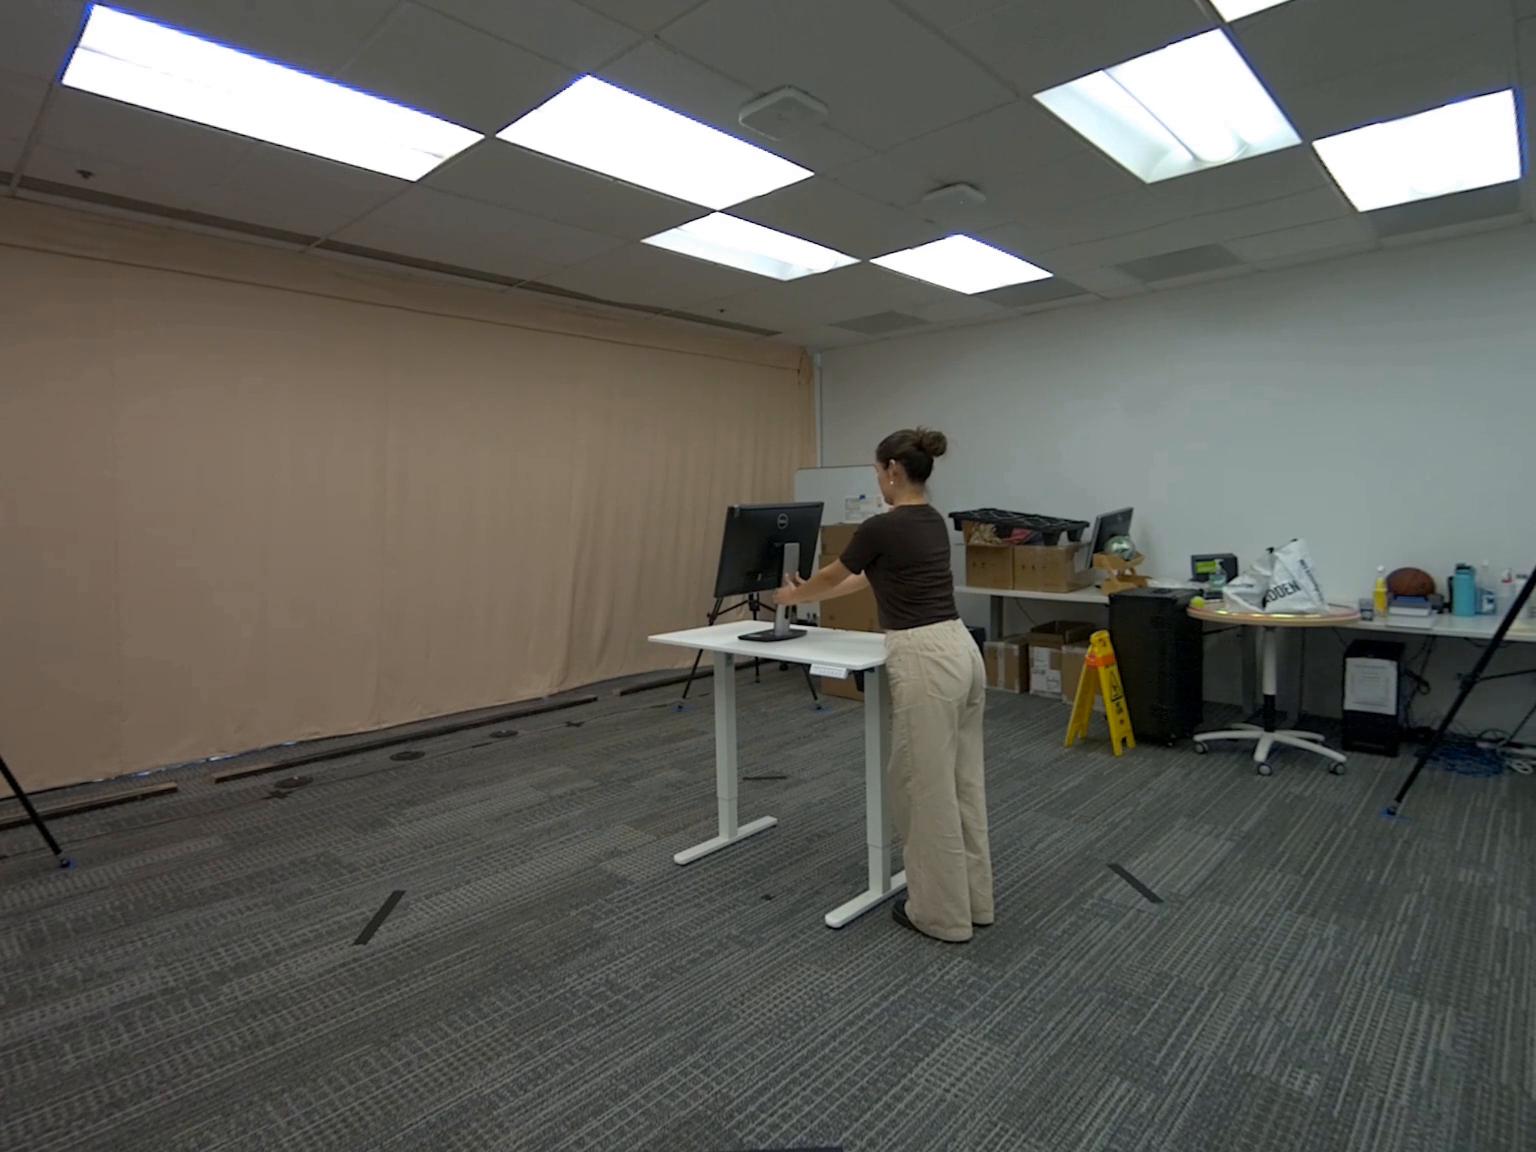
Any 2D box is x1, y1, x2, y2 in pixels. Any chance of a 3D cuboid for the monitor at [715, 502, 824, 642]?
[{"bbox_3d":[0.036,-0.016,3.231,0.193,0.521,0.523,4,7,42],"label":"monitor"}]
